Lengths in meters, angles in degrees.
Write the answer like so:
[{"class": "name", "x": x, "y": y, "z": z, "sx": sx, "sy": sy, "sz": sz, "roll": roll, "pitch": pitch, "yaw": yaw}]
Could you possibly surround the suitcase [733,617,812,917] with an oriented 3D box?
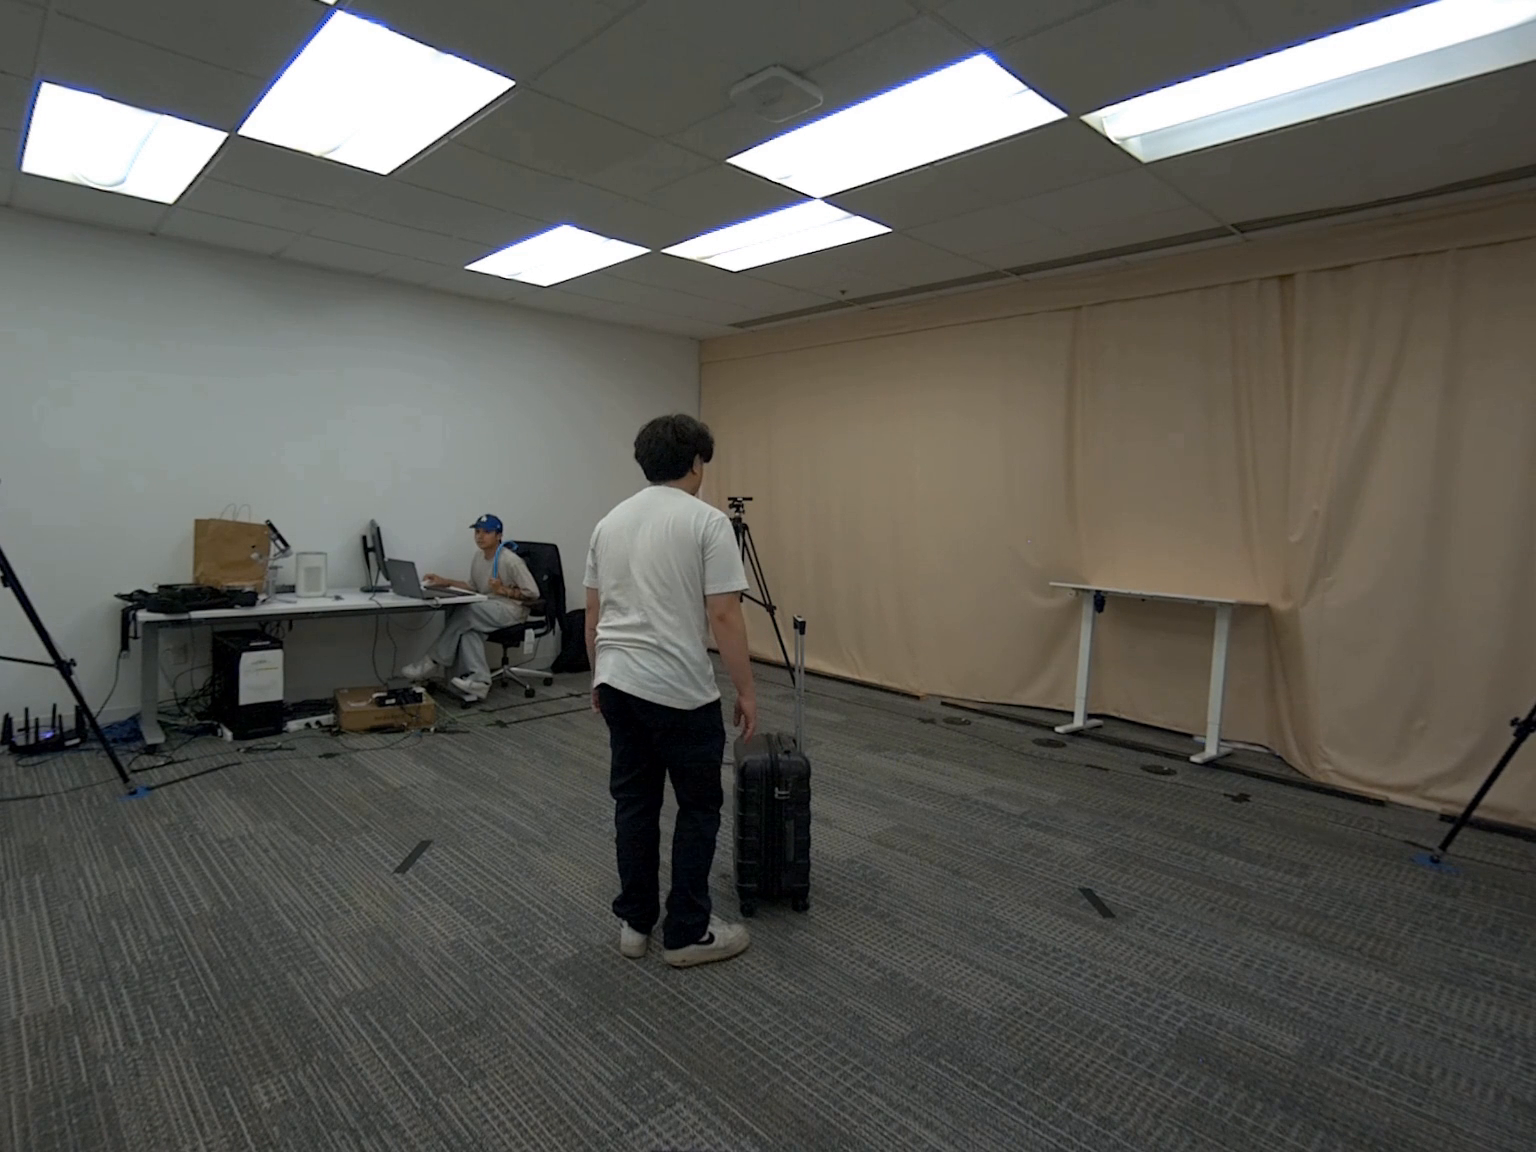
[{"class": "suitcase", "x": -0.001, "y": 0.649, "z": 2.949, "sx": 0.256, "sy": 0.977, "sz": 0.386, "roll": -1, "pitch": 3, "yaw": -4}]
